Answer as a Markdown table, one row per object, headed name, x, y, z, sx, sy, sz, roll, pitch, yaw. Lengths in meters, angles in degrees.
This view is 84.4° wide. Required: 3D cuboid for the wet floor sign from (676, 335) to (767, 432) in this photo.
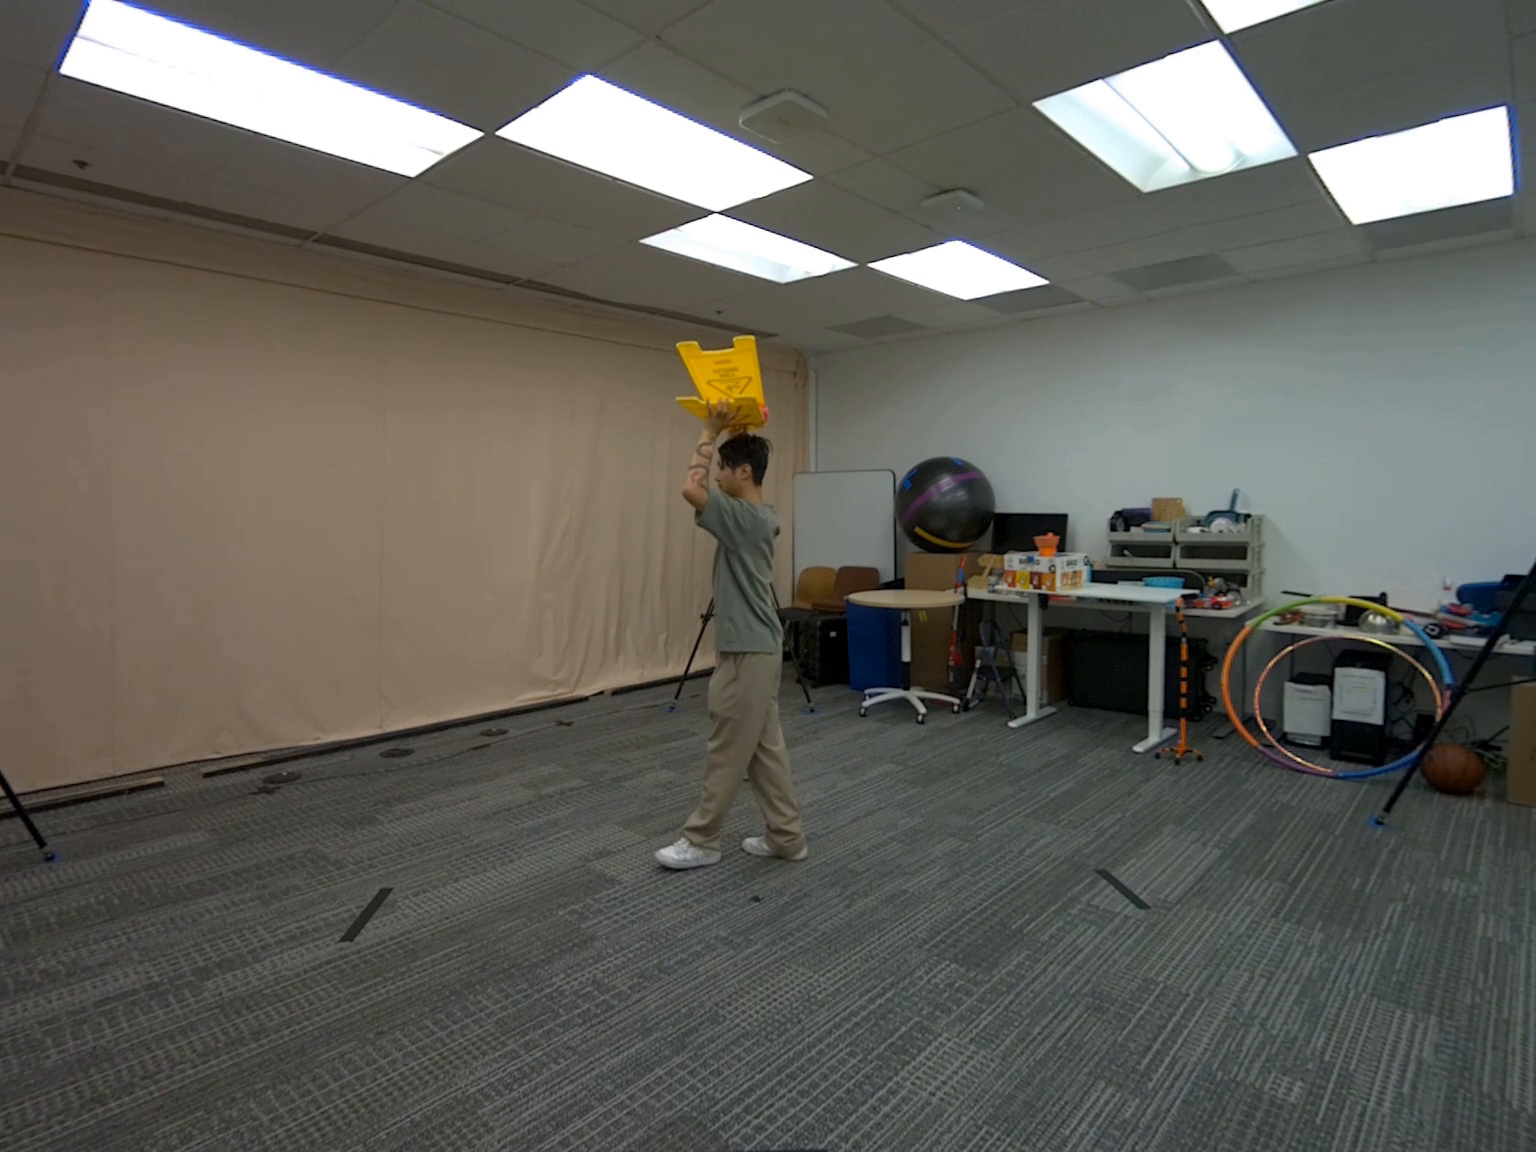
| name | x | y | z | sx | sy | sz | roll | pitch | yaw |
| --- | --- | --- | --- | --- | --- | --- | --- | --- | --- |
| wet floor sign | -0.139 | -0.674 | 3.231 | 0.285 | 0.291 | 0.637 | -2 | -7 | 6 |
